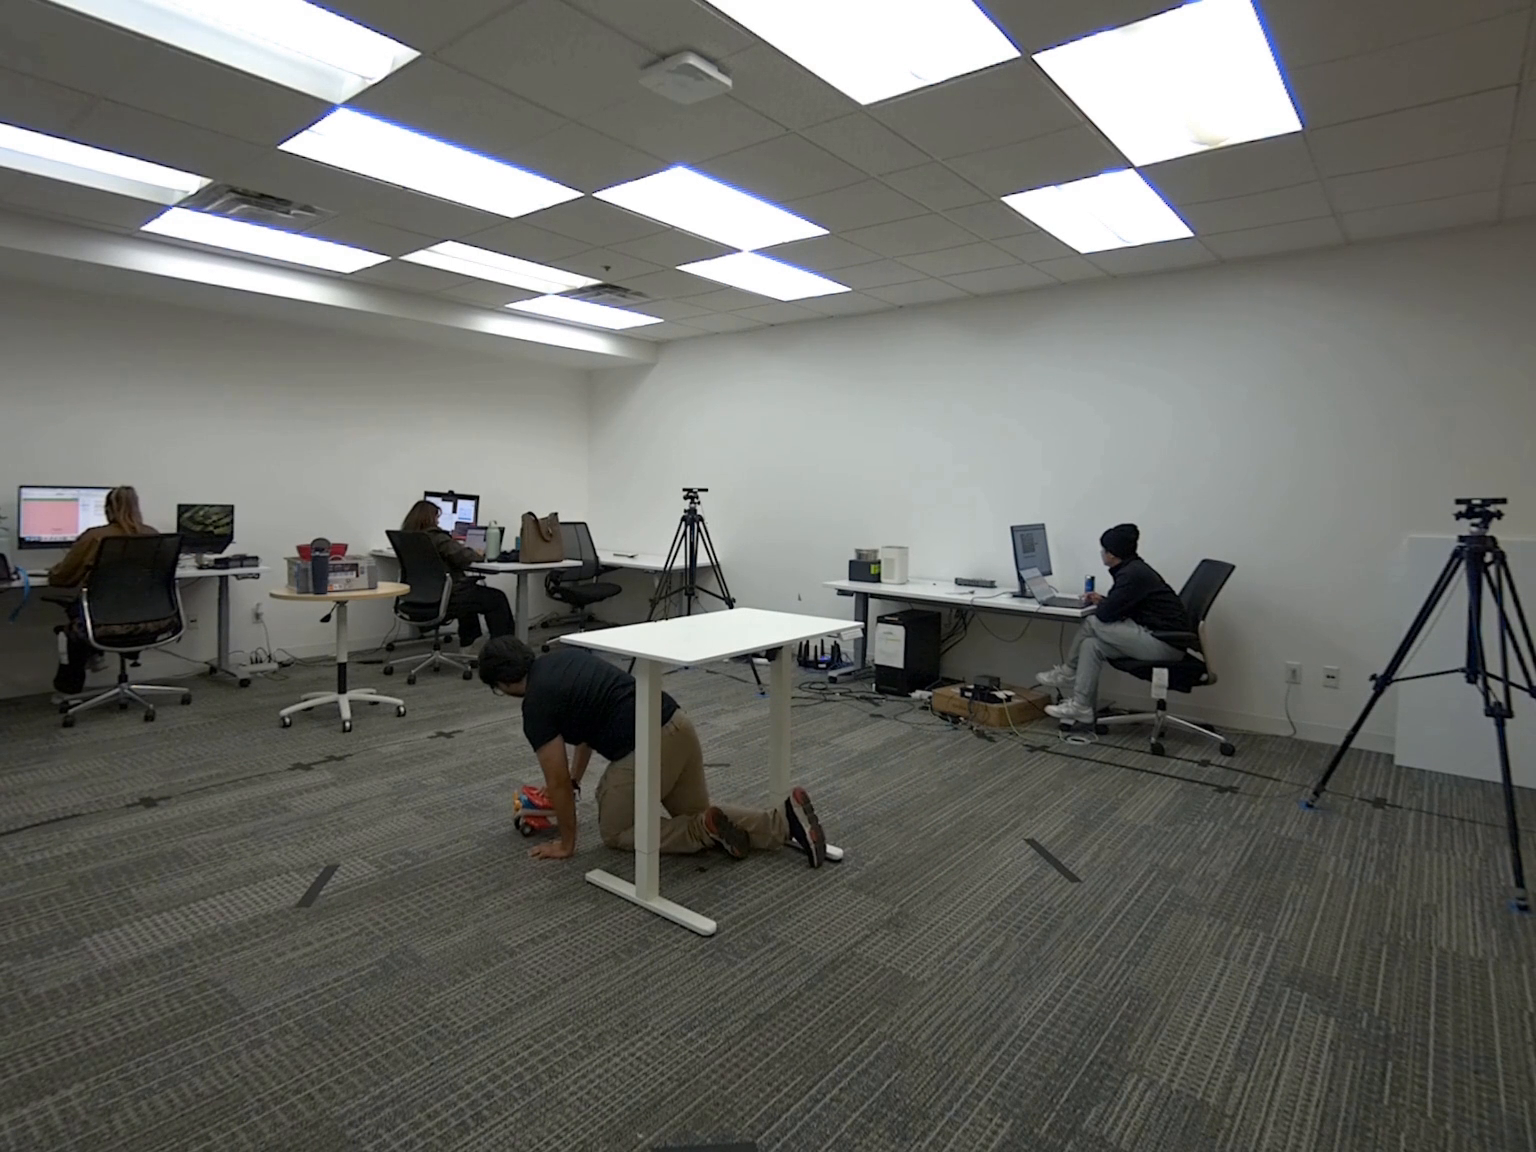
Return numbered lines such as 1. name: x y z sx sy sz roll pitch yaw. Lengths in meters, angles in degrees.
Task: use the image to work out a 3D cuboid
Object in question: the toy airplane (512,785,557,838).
1. toy airplane: -0.935 0.950 3.476 0.258 0.156 0.253 3 6 30
